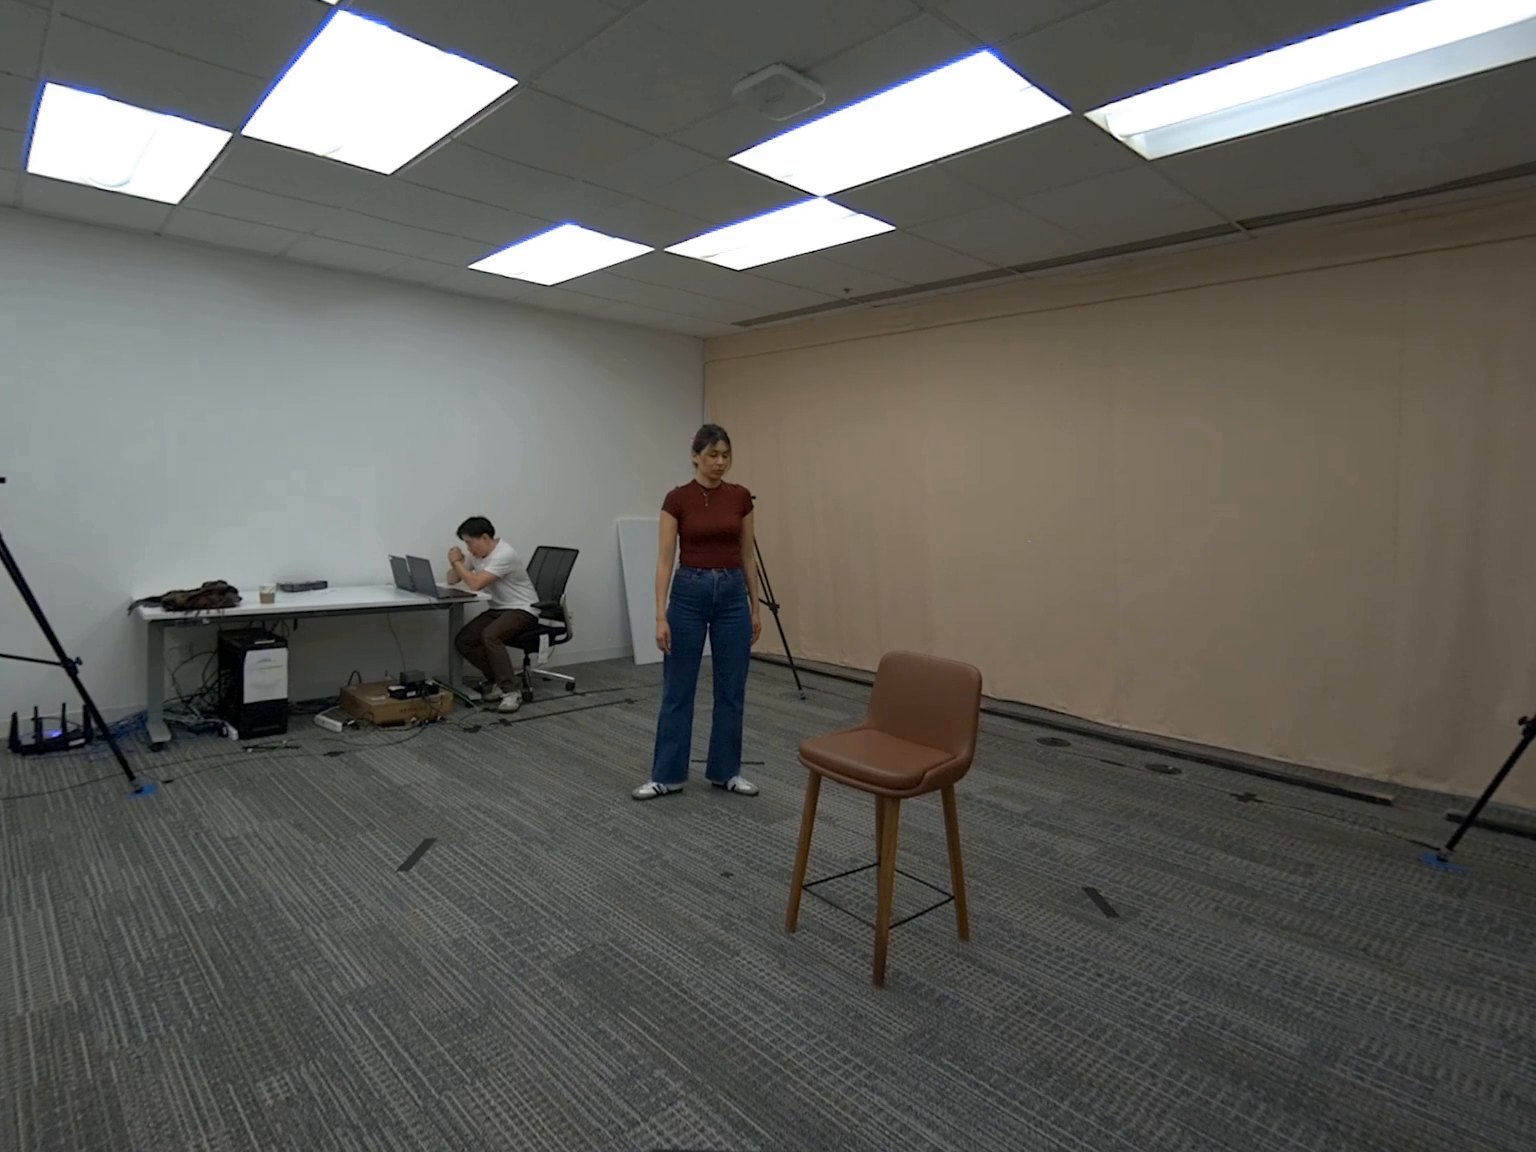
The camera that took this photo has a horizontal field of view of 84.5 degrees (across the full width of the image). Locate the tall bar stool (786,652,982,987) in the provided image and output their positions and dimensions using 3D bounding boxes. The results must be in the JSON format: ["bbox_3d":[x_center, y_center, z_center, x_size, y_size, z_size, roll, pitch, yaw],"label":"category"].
[{"bbox_3d":[0.369,0.719,2.670,0.456,0.888,0.468,1,4,-40],"label":"tall bar stool"}]
